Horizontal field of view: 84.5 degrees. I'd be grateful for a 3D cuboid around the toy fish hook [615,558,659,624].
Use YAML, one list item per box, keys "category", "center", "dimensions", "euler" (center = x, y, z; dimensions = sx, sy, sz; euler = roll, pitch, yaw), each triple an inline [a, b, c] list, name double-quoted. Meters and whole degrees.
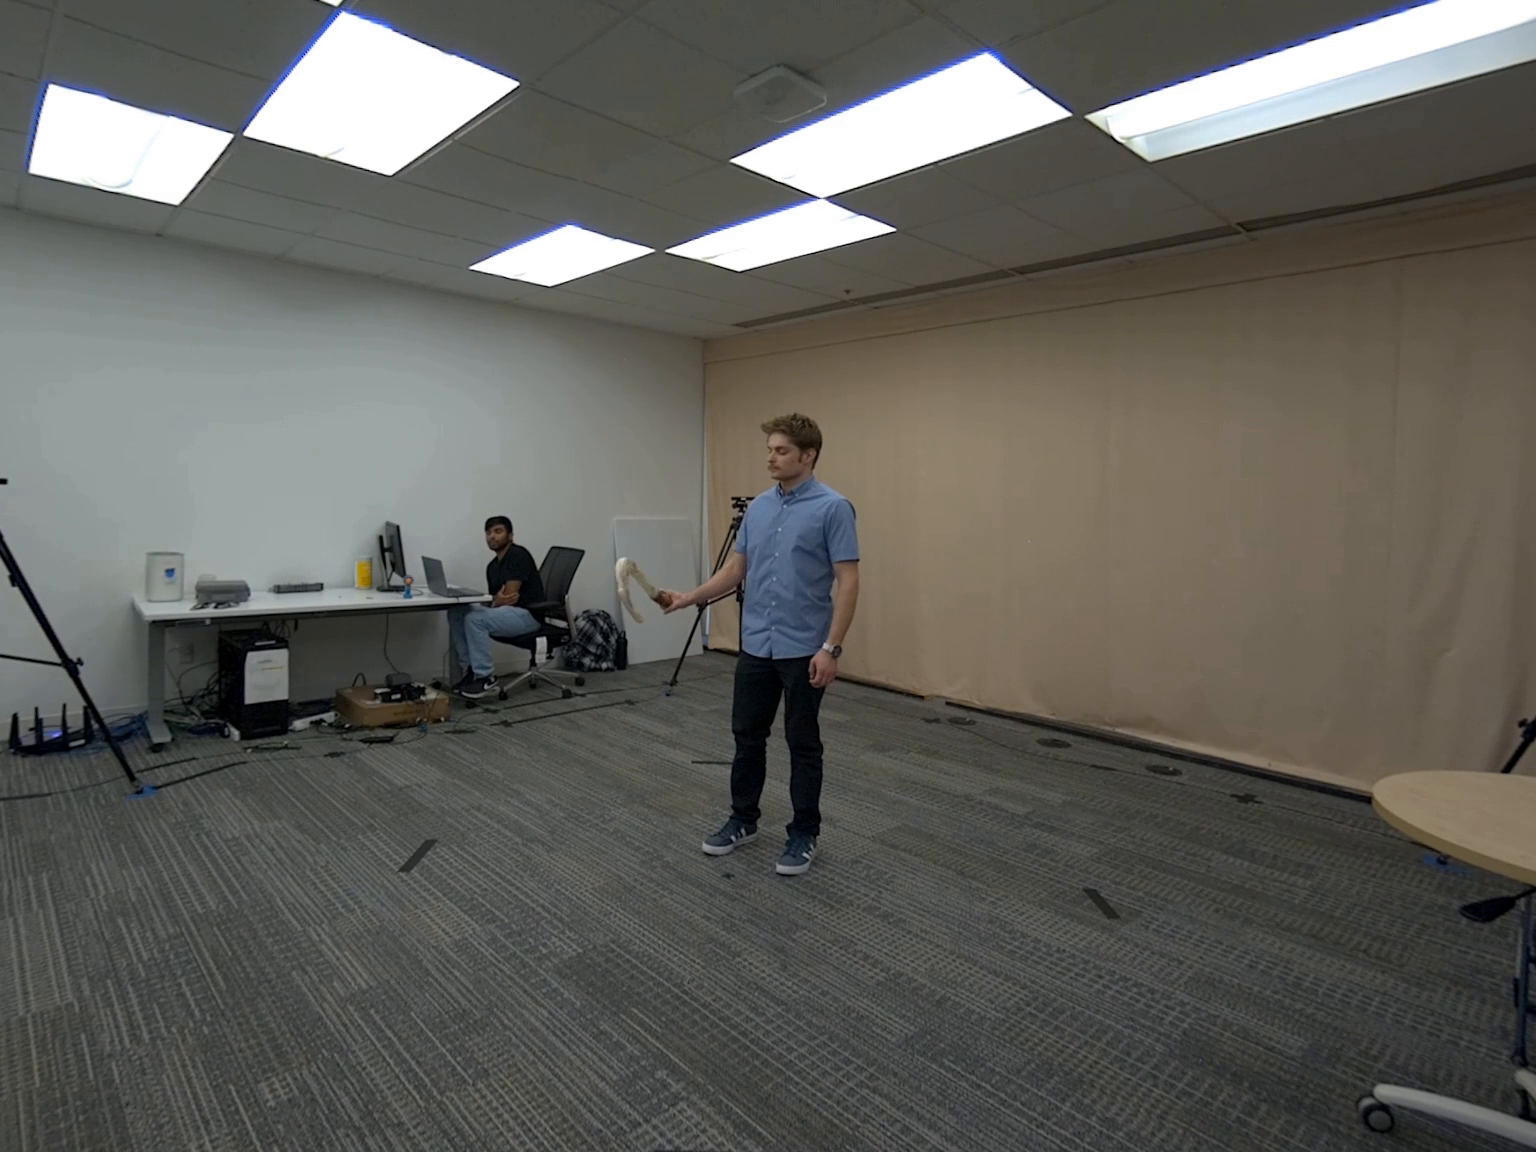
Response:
- category: "toy fish hook"
  center: [-0.439, 0.098, 3.058]
  dimensions: [0.049, 0.228, 0.493]
  euler: [-6, -21, 18]
